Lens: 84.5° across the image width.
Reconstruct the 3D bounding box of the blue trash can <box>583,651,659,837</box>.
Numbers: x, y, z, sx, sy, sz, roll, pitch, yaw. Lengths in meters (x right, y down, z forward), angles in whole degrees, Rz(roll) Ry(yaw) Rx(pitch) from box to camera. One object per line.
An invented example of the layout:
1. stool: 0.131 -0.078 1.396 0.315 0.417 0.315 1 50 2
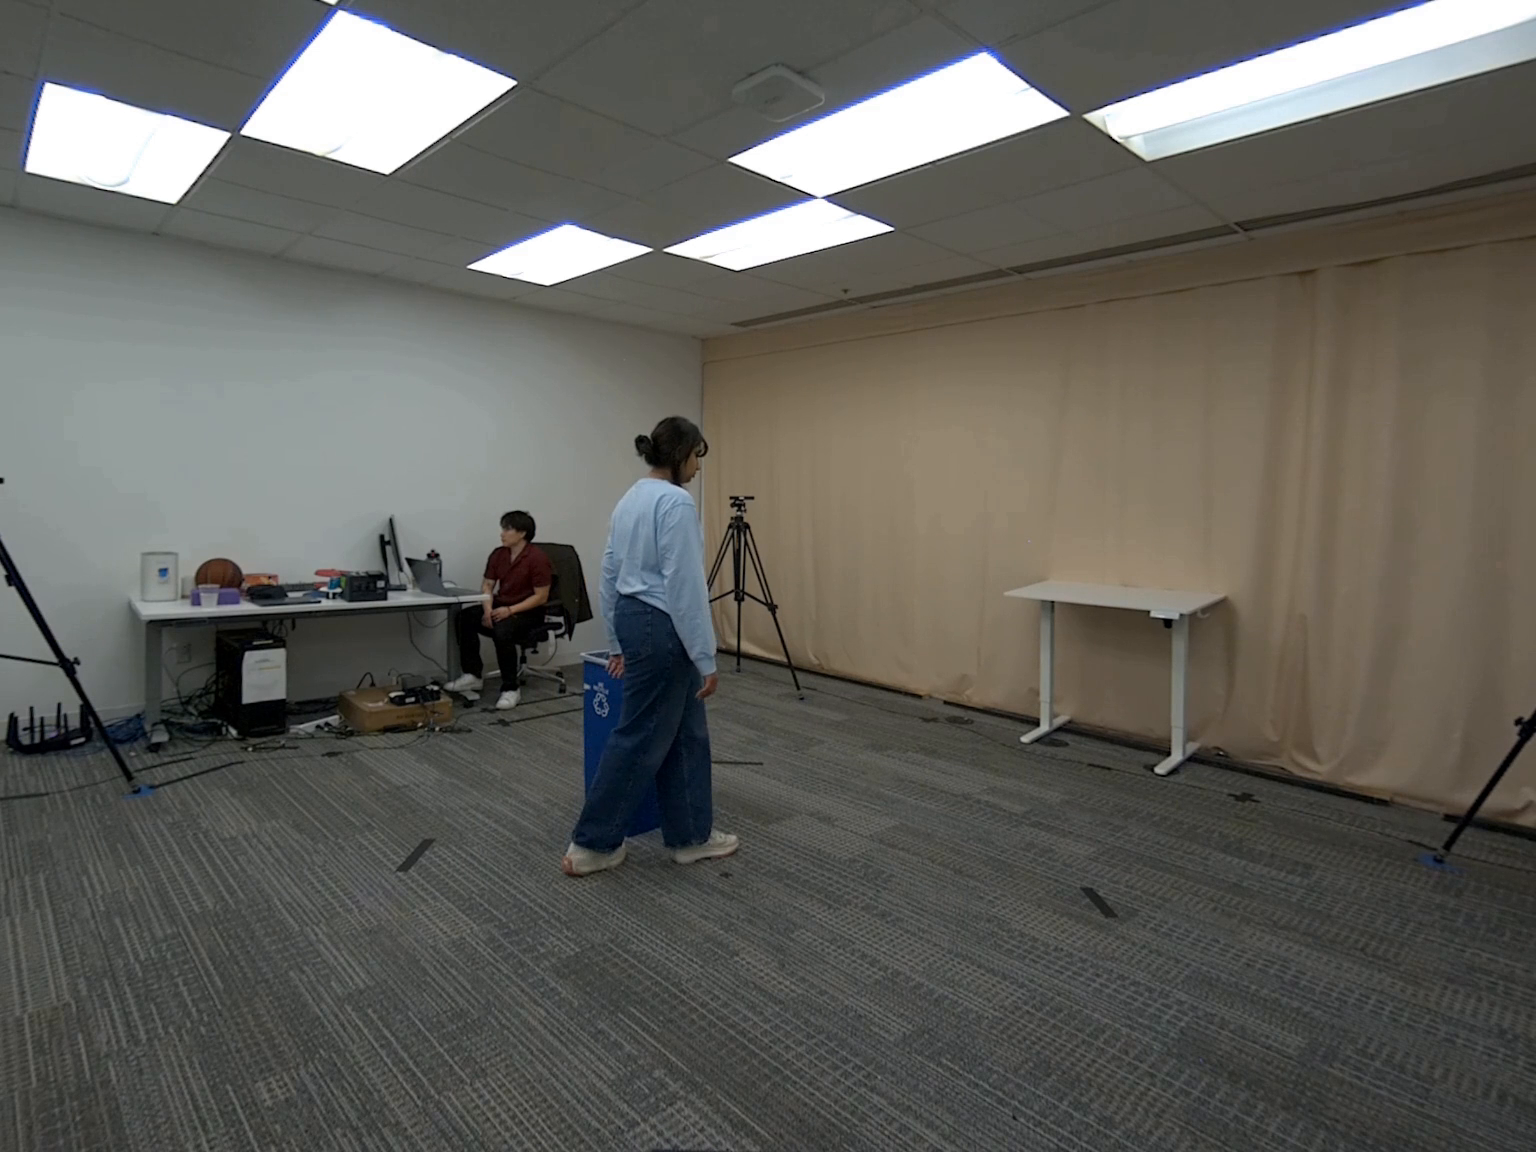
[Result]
1. blue trash can: -0.576 0.694 3.607 0.388 0.712 0.365 6 5 42
